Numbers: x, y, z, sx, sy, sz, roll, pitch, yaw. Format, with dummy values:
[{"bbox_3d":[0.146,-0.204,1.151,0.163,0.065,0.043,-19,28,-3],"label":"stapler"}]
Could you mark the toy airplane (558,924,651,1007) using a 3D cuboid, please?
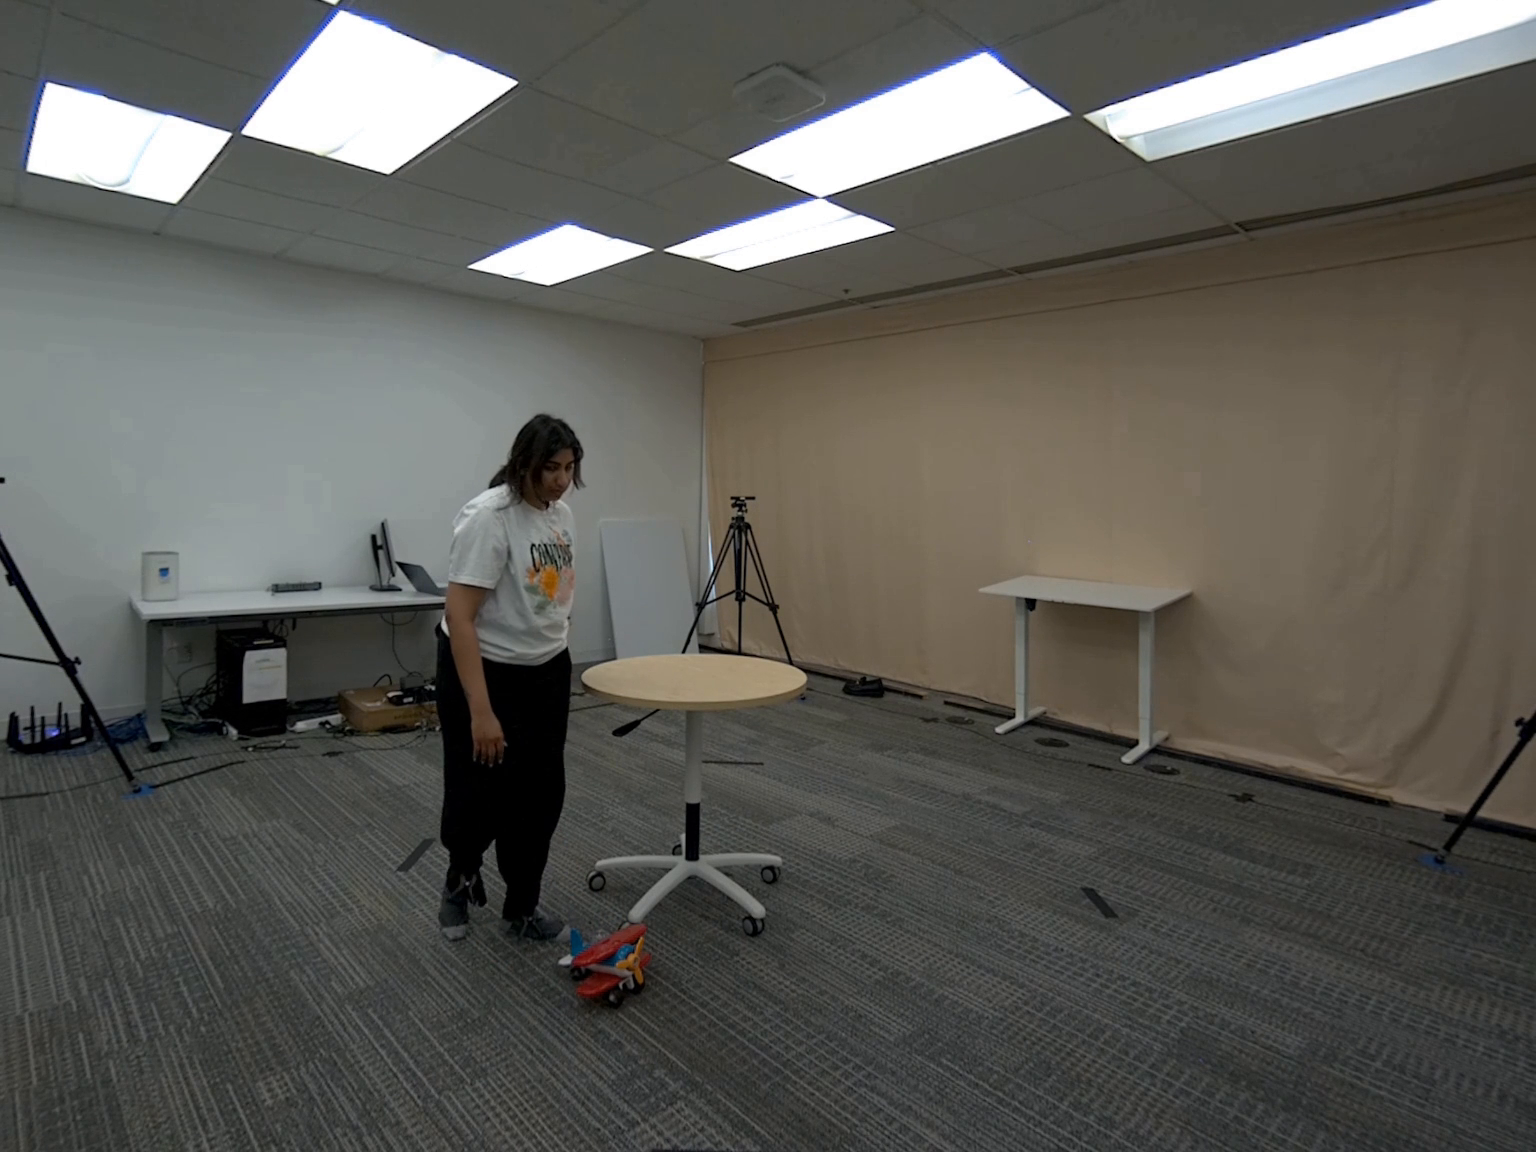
[{"bbox_3d":[-0.481,1.092,2.347,0.261,0.156,0.250,2,5,8],"label":"toy airplane"}]
